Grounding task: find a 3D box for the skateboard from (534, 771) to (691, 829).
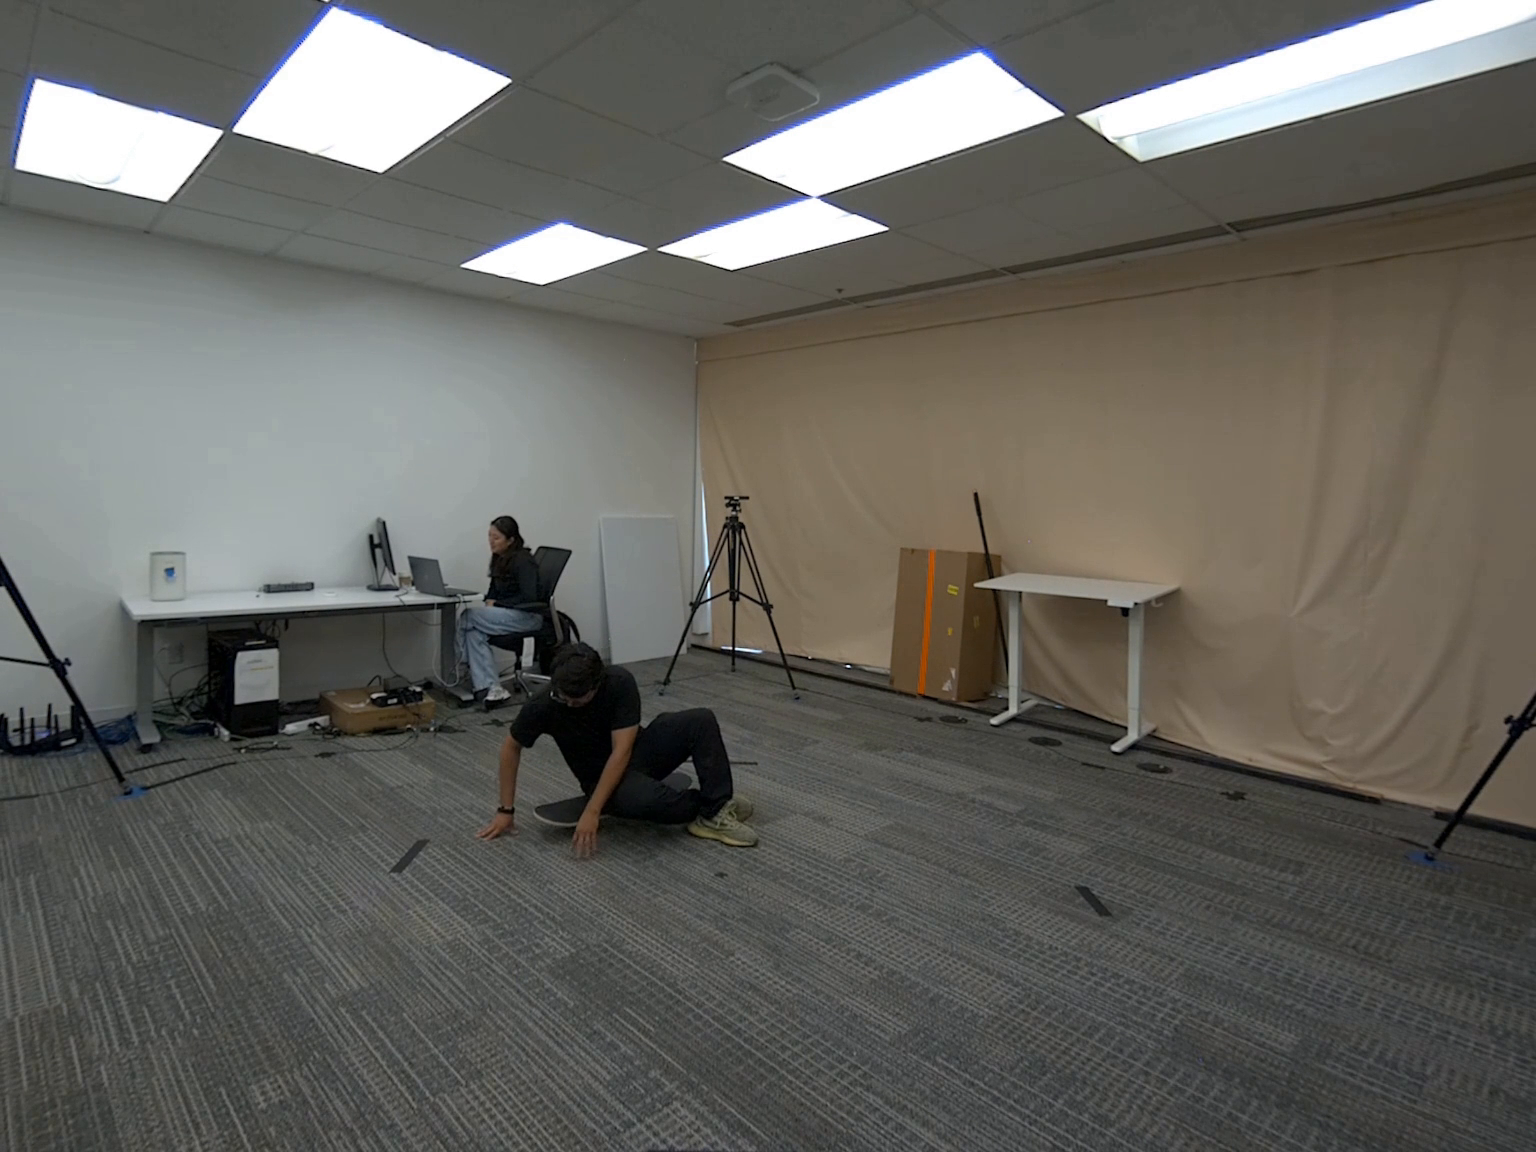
[{"bbox_3d":[-0.658,0.988,3.627,0.767,0.110,0.199,-3,13,-44],"label":"skateboard"}]
